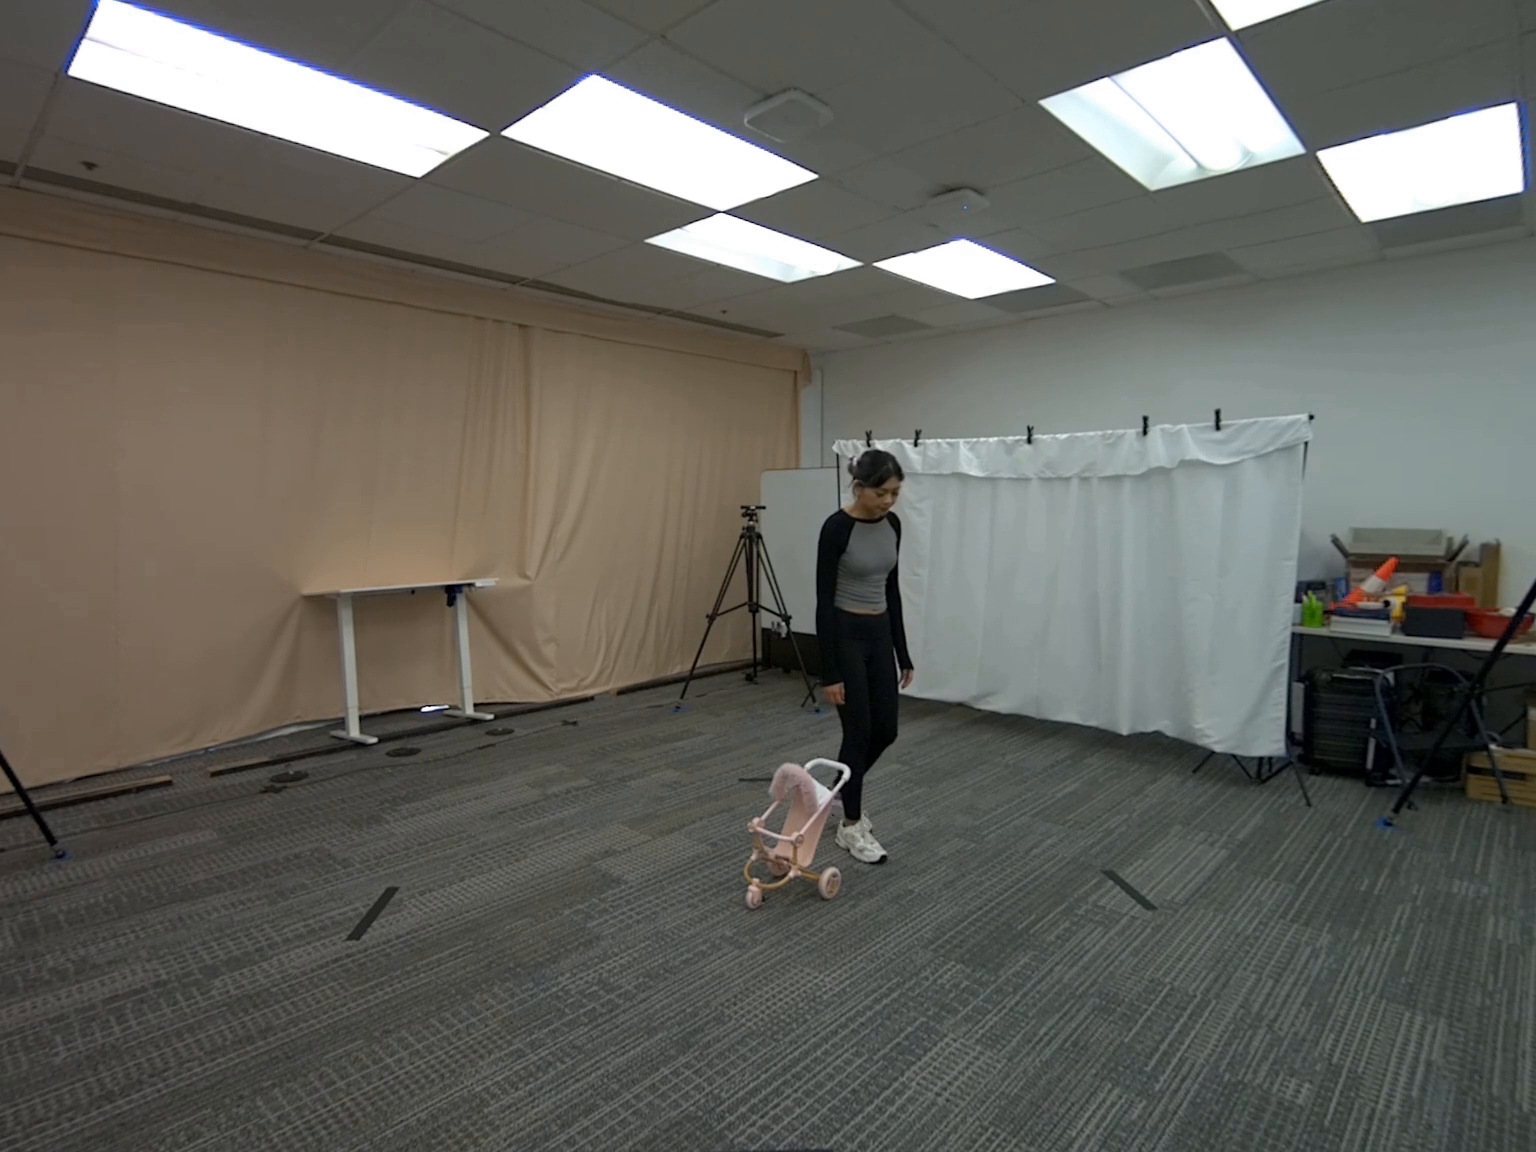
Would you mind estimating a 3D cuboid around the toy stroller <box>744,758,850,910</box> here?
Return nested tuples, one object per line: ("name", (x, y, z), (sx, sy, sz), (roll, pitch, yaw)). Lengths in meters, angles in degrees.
("toy stroller", (0.089, 0.916, 3.025), (0.329, 0.536, 0.291), (18, -9, -39))
